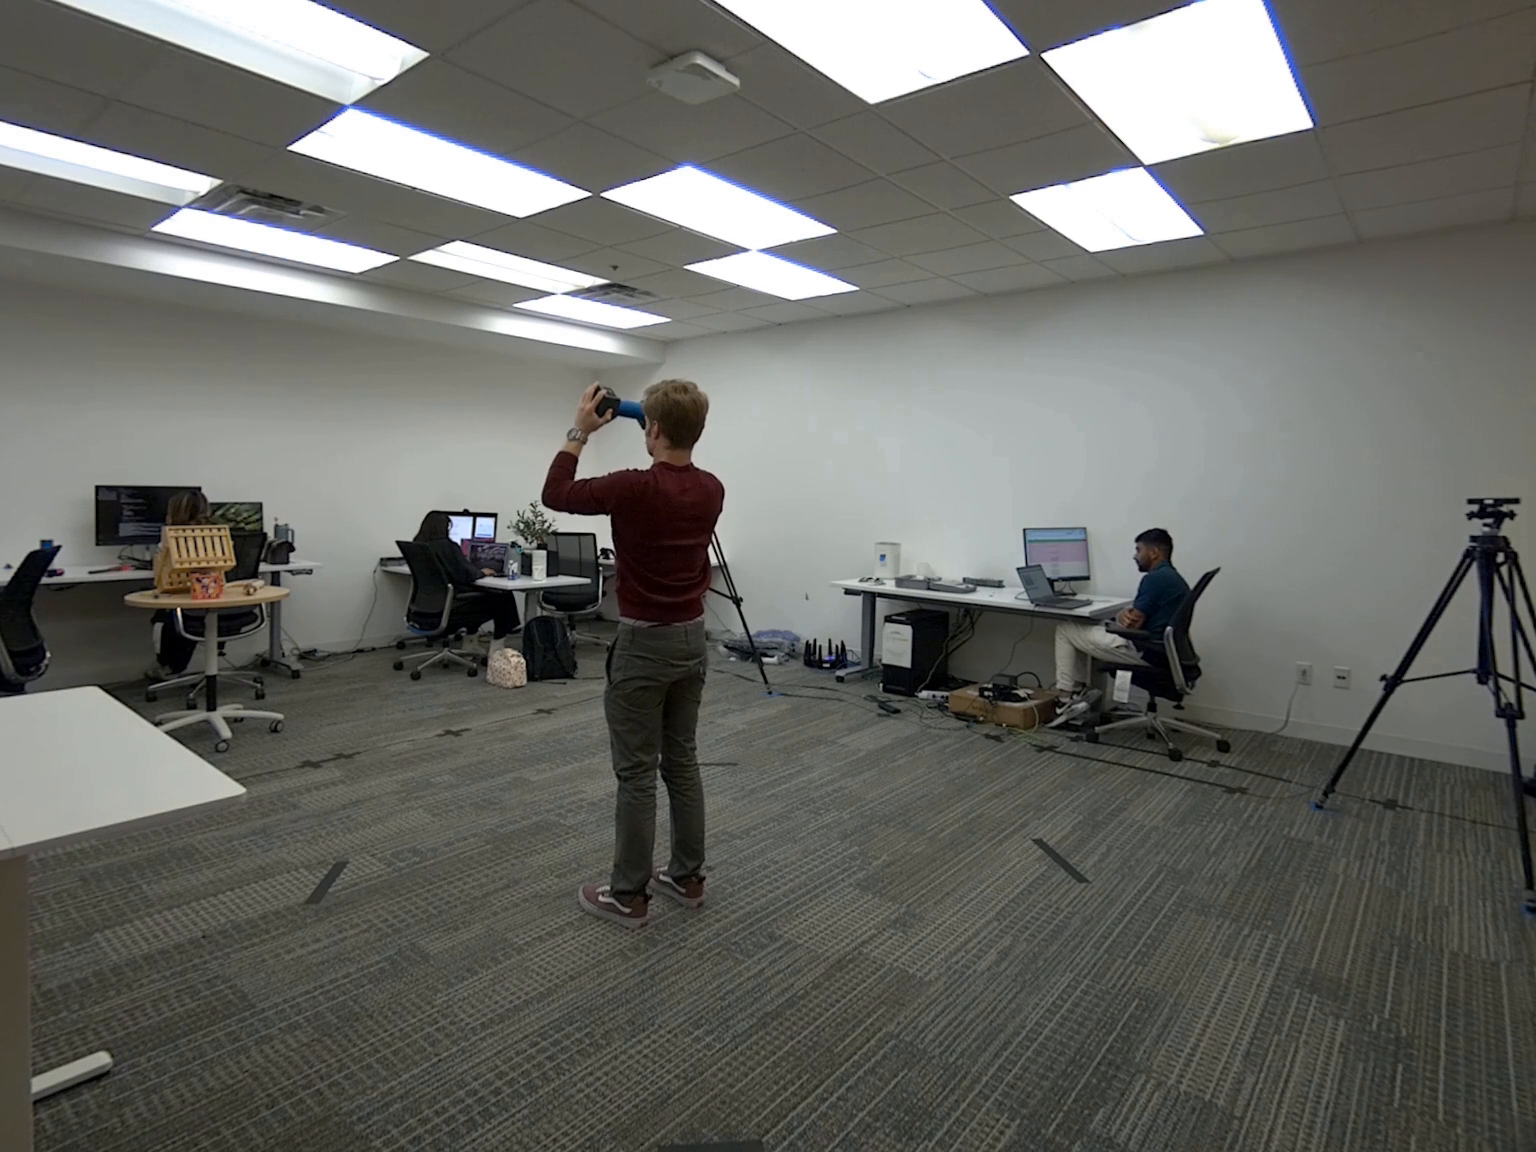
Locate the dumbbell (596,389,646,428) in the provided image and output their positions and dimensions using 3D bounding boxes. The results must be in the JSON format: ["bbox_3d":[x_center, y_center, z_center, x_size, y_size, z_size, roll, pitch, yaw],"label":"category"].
[{"bbox_3d":[-0.474,-0.572,2.881,0.284,0.122,0.113,3,15,-43],"label":"dumbbell"}]
